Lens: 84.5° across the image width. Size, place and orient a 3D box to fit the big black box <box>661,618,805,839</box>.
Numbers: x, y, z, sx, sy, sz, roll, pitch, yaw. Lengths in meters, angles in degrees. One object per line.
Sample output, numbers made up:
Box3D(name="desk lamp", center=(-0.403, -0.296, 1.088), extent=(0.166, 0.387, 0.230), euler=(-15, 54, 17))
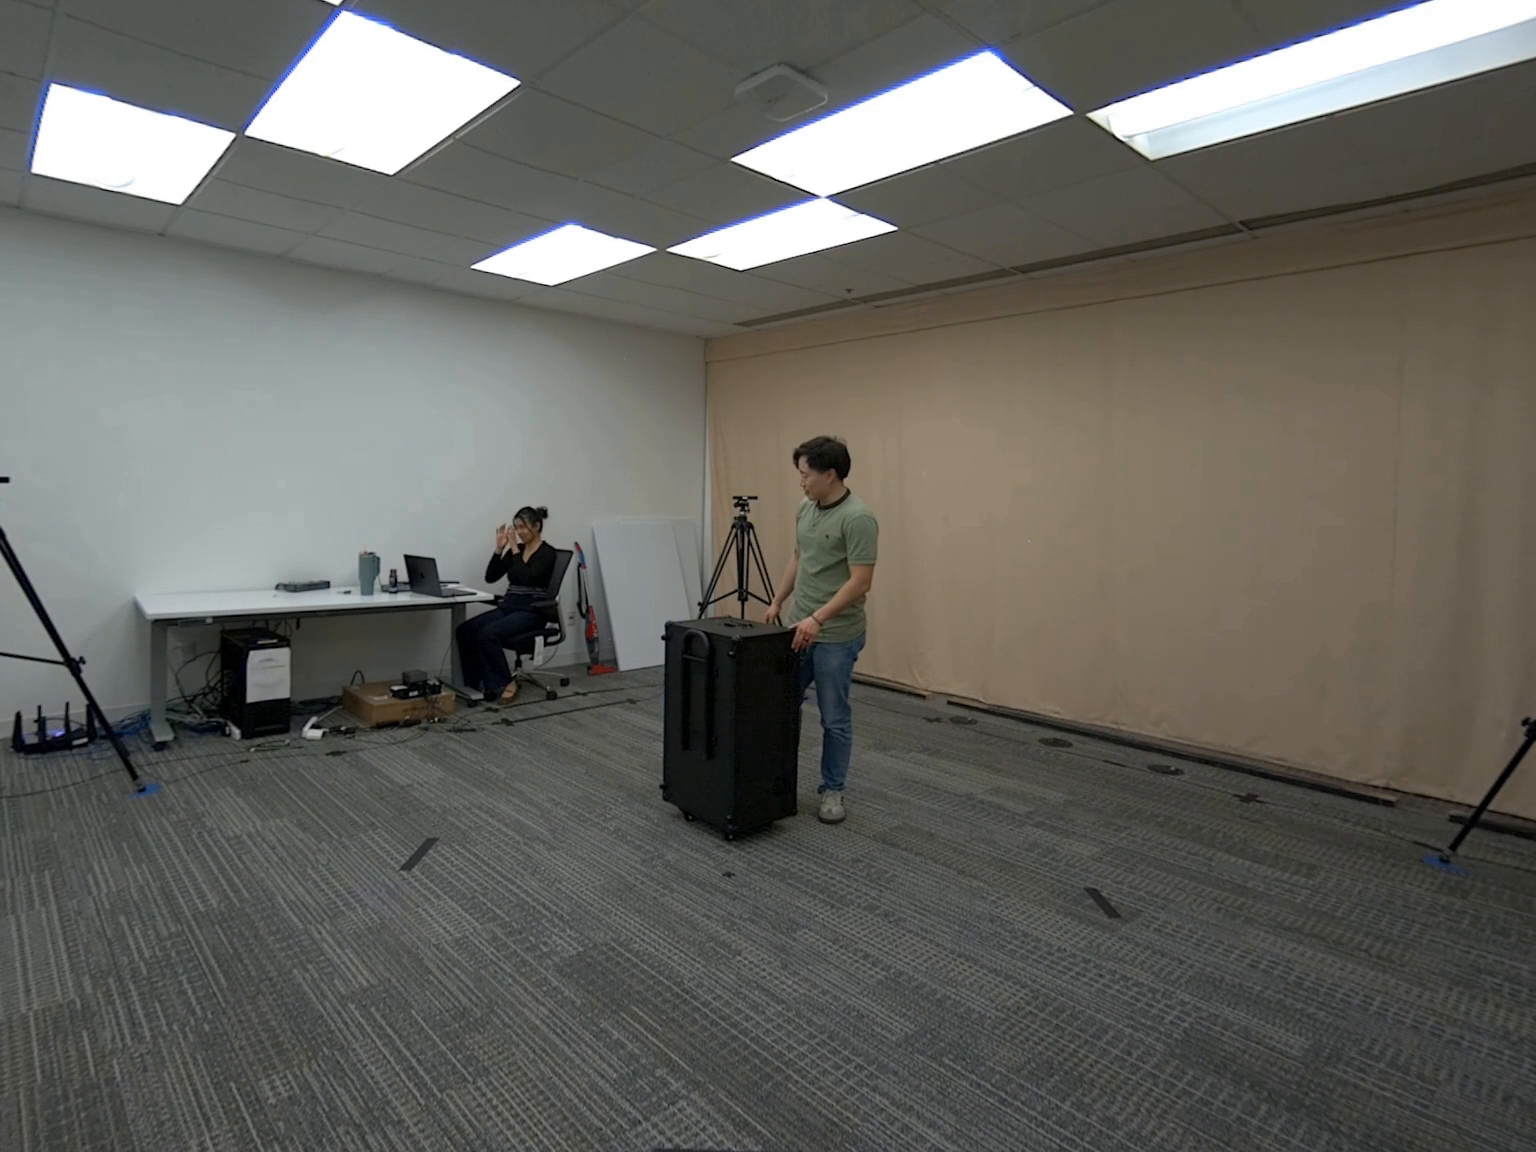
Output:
Box3D(name="big black box", center=(-0.176, 0.634, 3.566), extent=(0.387, 0.859, 0.534), euler=(-3, 5, -41))
